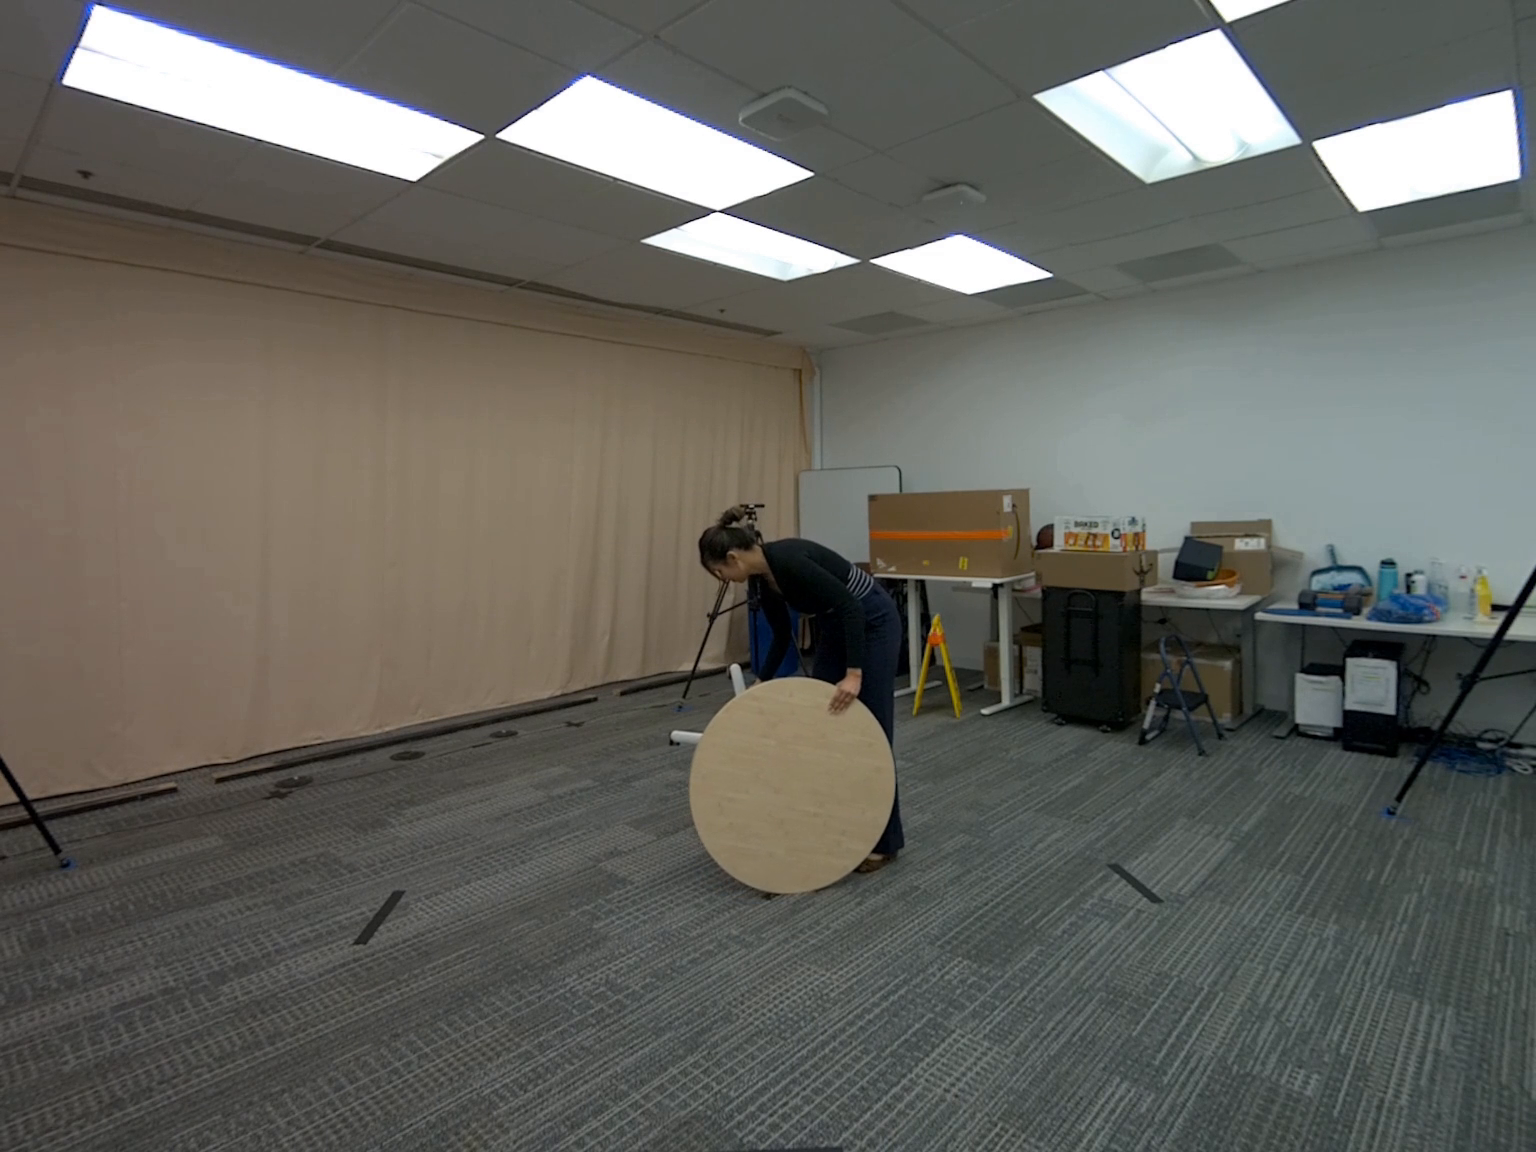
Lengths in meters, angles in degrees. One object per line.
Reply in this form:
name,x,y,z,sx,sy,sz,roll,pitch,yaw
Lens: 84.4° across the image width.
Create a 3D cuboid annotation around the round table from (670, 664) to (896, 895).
round table,-0.002,0.748,3.408,0.755,0.764,0.803,-2,0,-12
